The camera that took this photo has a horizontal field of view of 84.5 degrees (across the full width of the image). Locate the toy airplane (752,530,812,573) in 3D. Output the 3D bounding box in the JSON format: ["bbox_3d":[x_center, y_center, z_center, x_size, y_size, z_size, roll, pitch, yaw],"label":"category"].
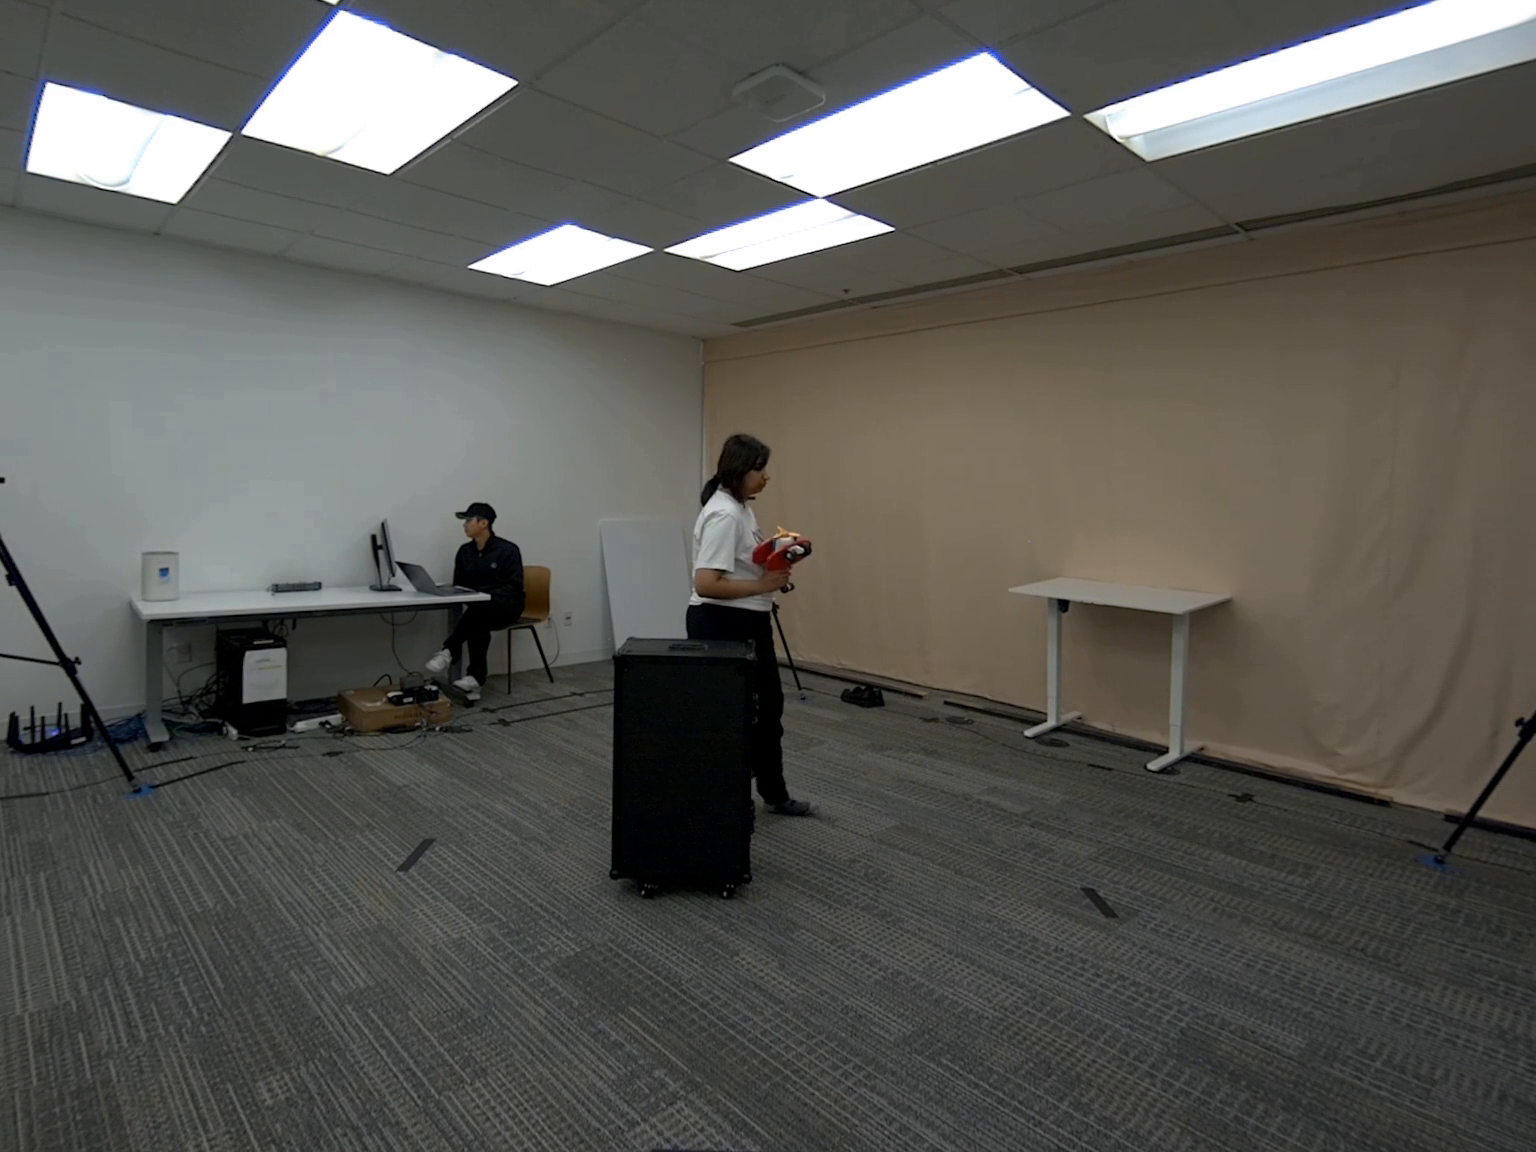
[{"bbox_3d":[0.039,-0.057,3.357,0.161,0.258,0.245,40,14,28],"label":"toy airplane"}]
